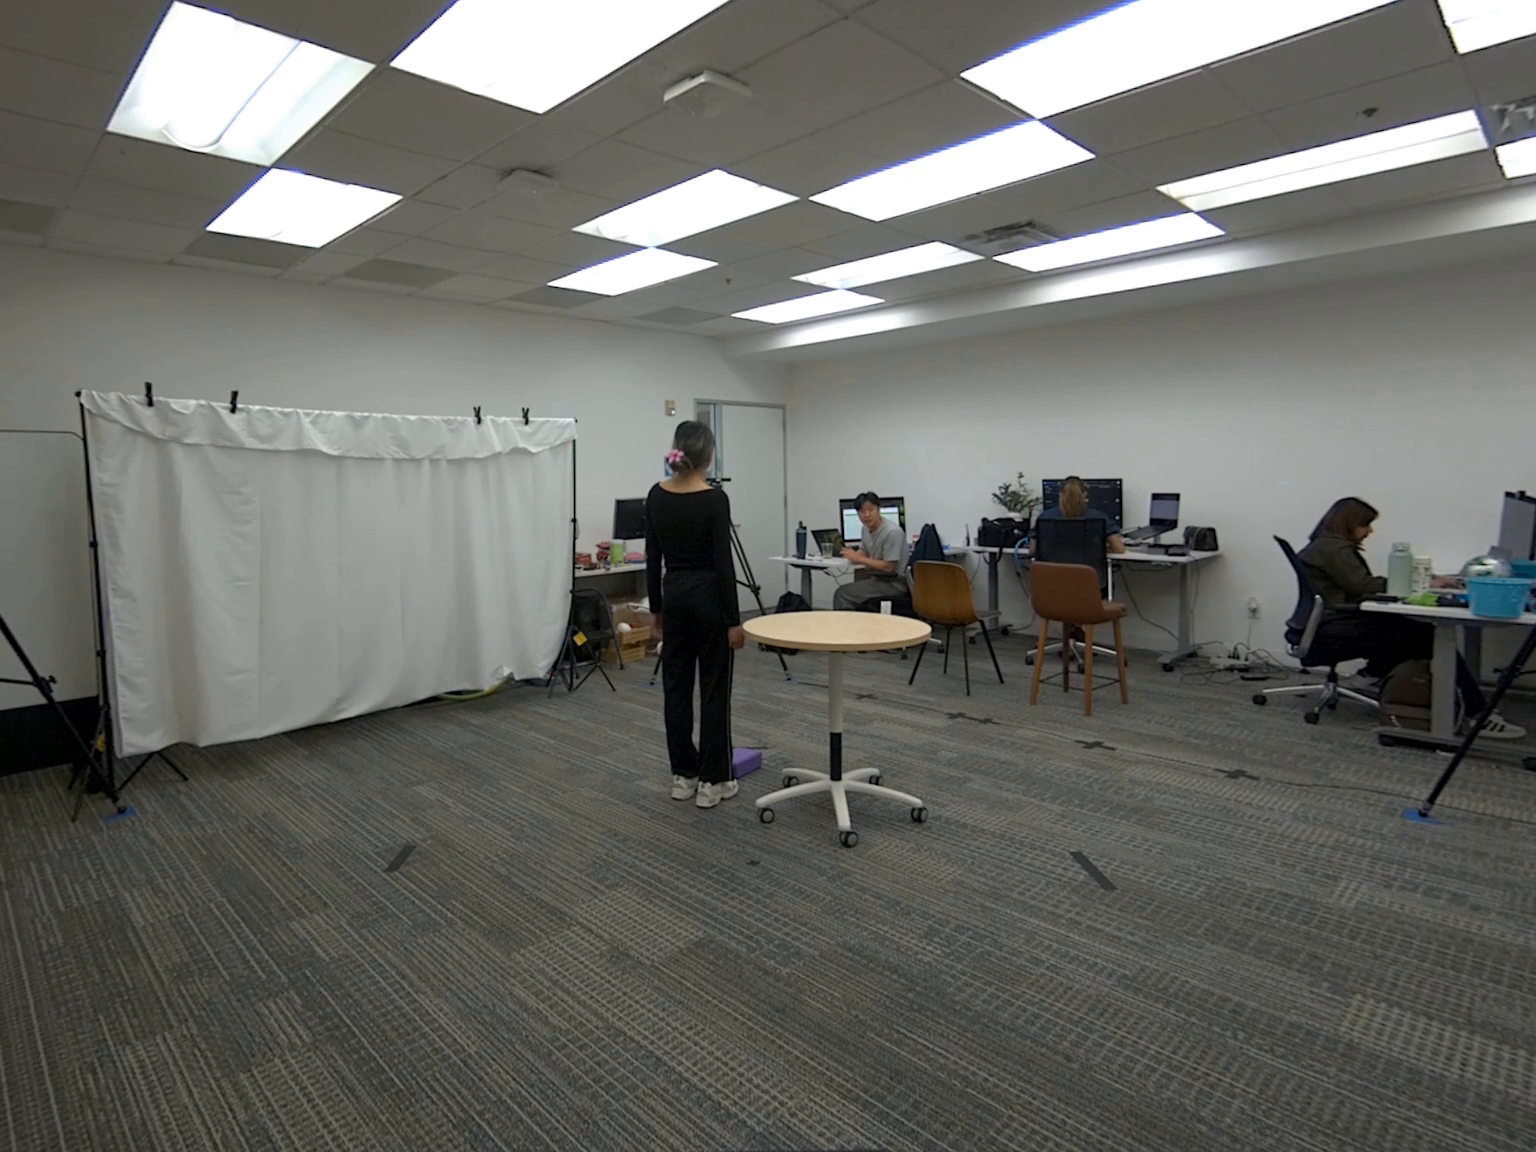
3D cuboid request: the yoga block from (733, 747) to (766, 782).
[{"bbox_3d":[-0.141,0.897,4.100,0.153,0.076,0.224,2,6,35],"label":"yoga block"}]
